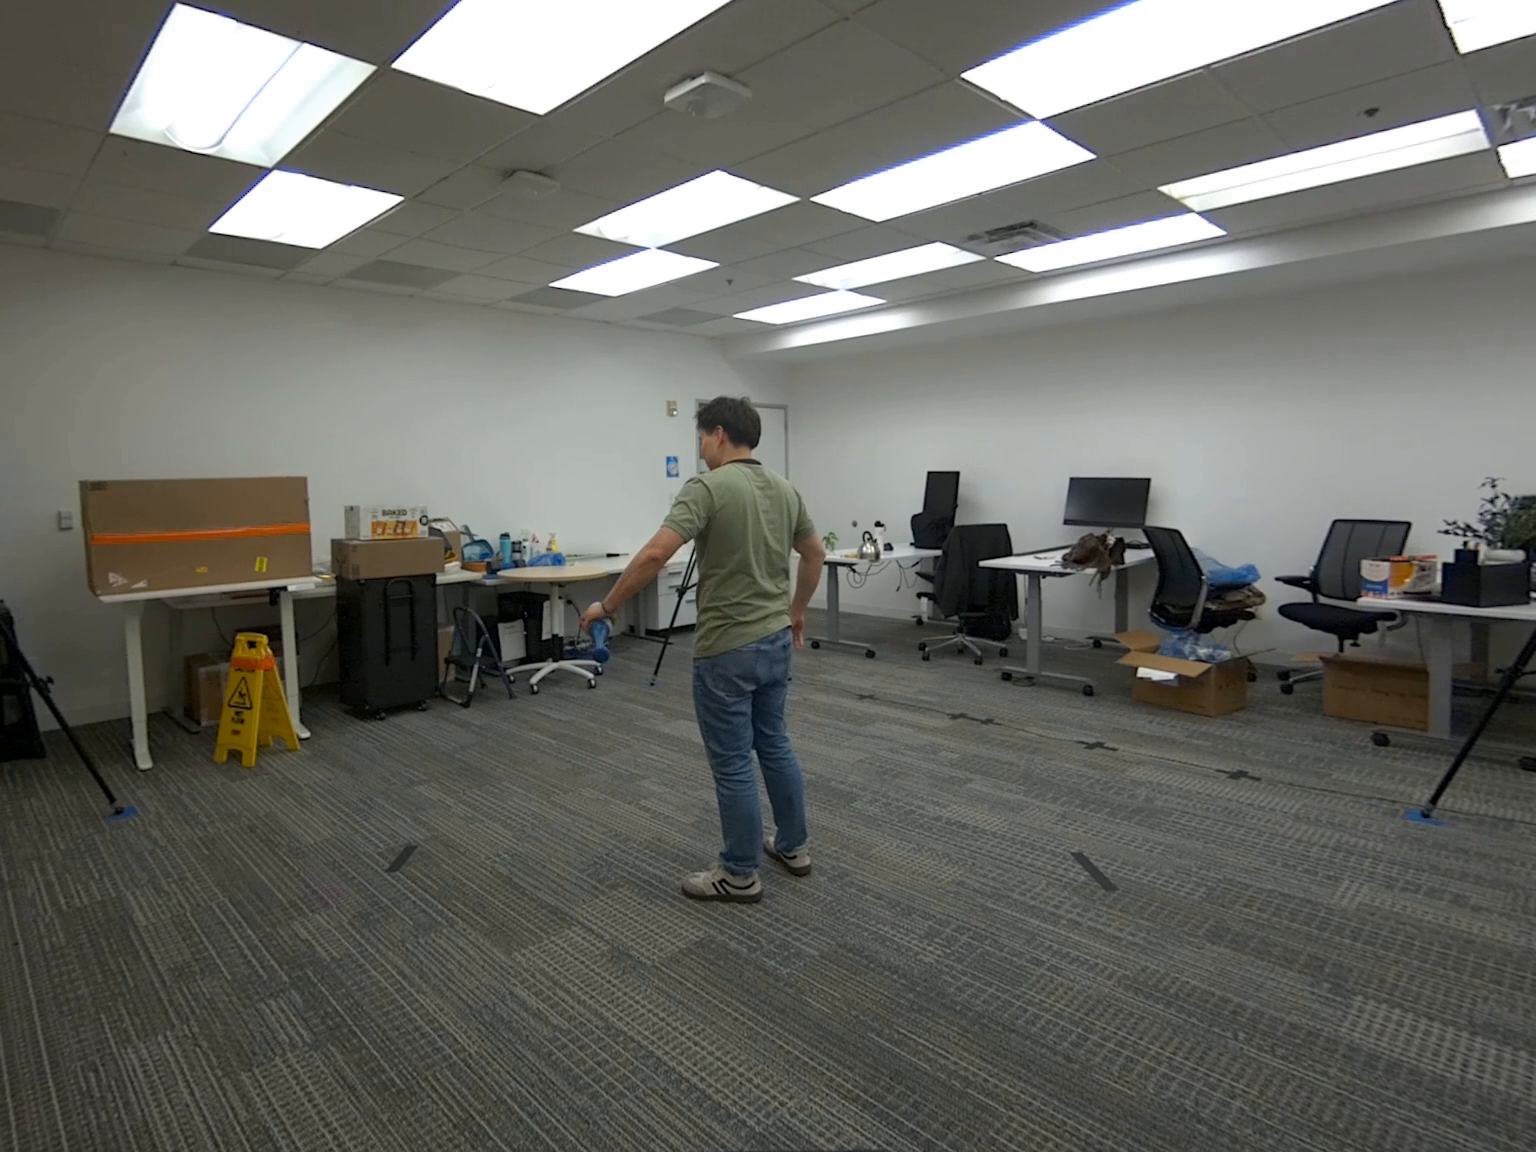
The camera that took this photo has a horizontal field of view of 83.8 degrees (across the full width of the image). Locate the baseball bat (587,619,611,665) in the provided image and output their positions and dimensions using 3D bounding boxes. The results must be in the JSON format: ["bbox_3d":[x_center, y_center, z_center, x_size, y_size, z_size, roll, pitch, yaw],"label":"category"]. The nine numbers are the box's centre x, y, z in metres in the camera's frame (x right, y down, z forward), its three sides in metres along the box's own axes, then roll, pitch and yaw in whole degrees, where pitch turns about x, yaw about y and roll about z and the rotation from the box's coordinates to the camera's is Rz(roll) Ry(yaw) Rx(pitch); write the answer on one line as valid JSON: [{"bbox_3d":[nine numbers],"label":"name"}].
[{"bbox_3d":[-0.526,0.177,2.699,0.088,0.088,0.552,-2,11,-10],"label":"baseball bat"}]
